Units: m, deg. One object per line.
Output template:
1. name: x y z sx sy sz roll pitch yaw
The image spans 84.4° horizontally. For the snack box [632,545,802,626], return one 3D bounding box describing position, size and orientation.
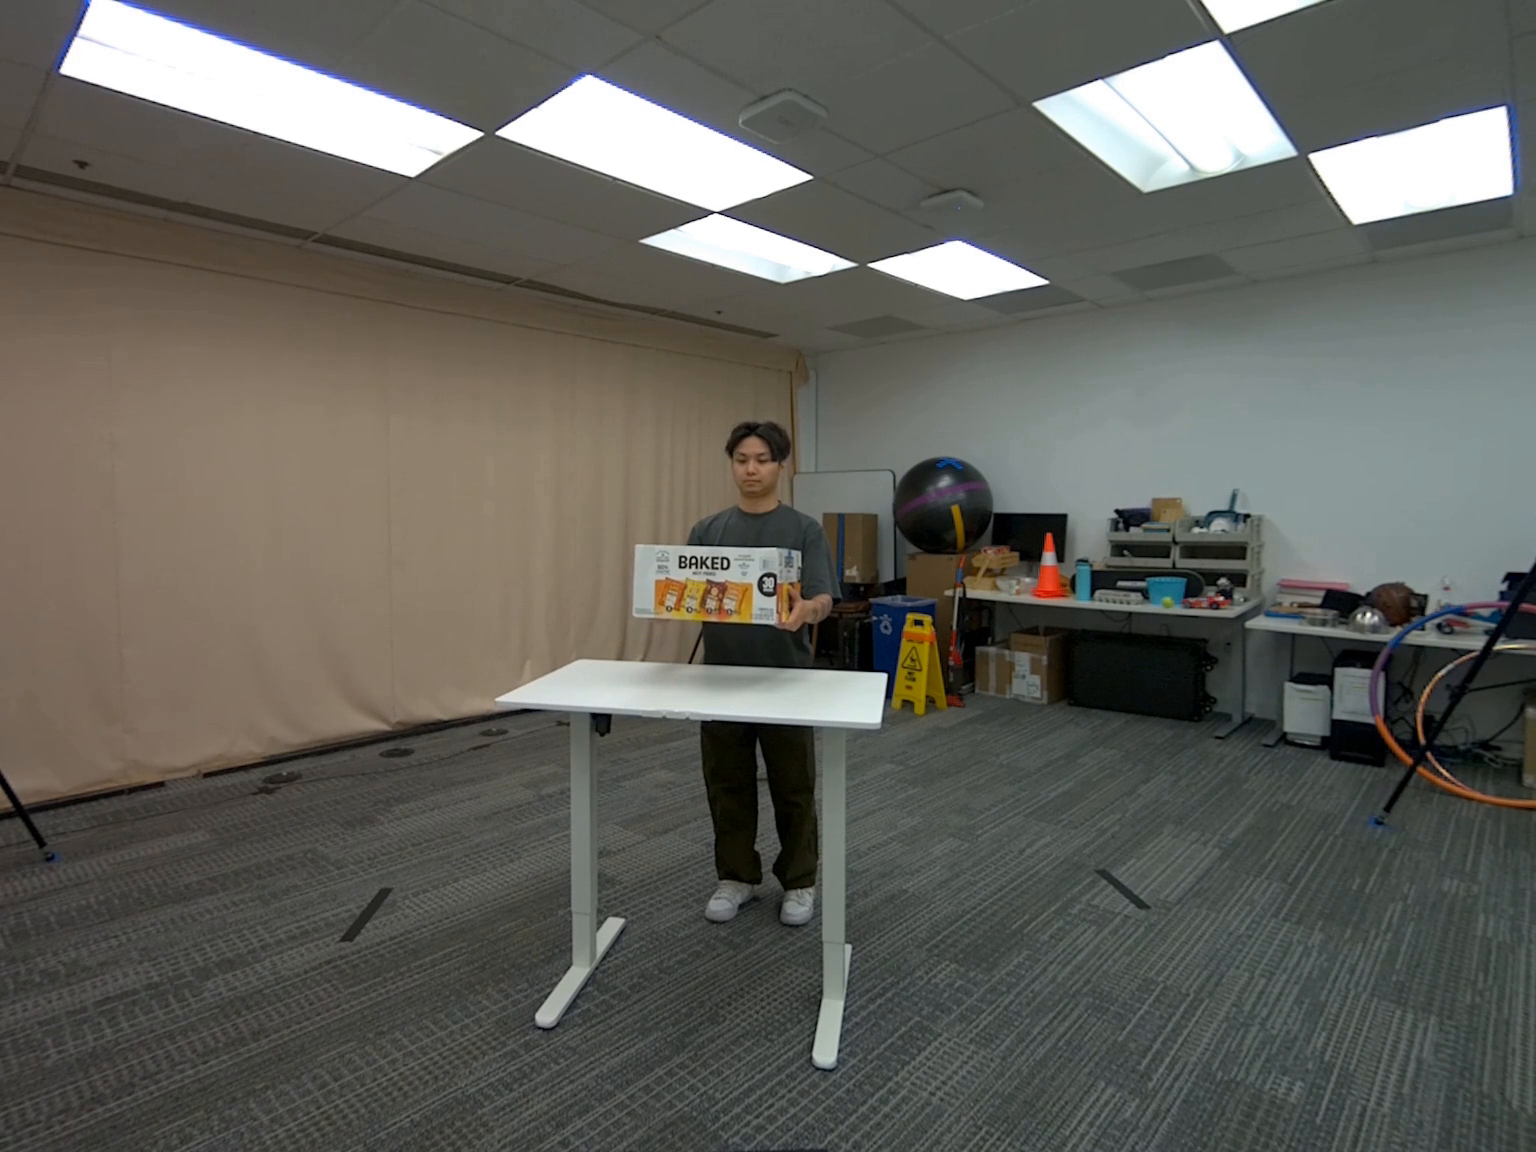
1. snack box: -0.134 0.020 2.433 0.412 0.206 0.334 2 -1 14
